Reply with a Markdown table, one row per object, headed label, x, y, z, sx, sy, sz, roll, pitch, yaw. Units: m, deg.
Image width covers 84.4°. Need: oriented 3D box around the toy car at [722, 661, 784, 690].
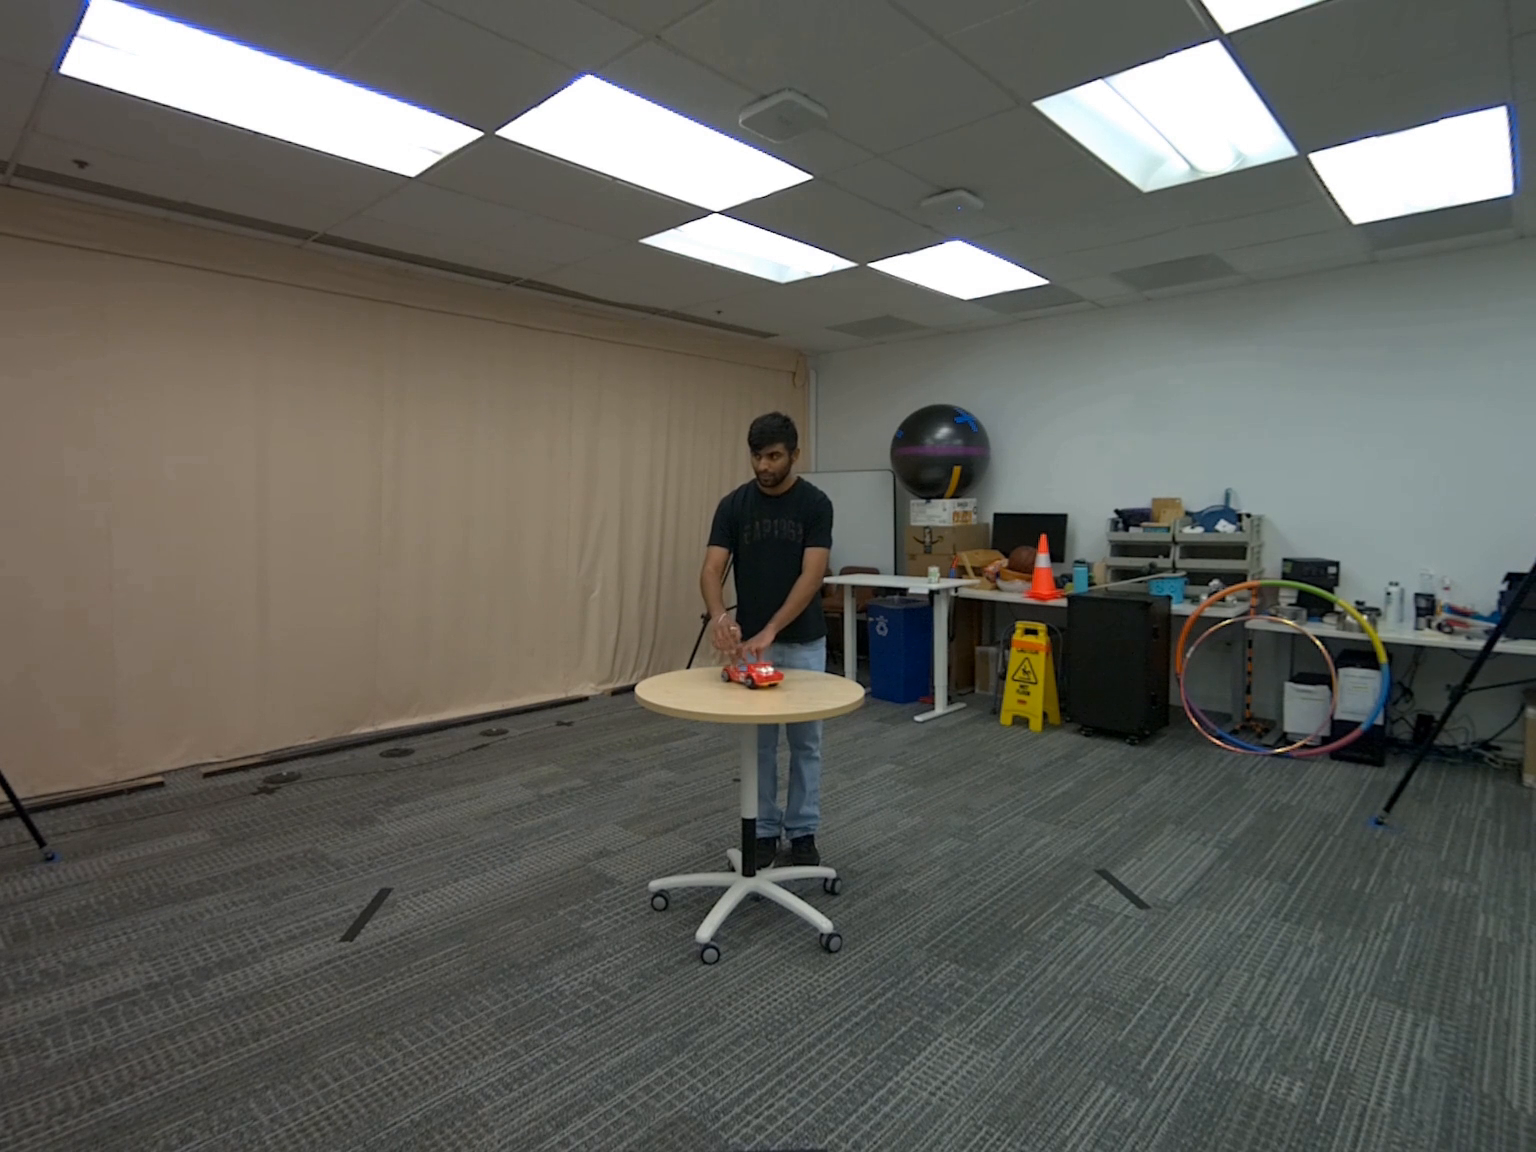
| label | x | y | z | sx | sy | sz | roll | pitch | yaw |
| --- | --- | --- | --- | --- | --- | --- | --- | --- | --- |
| toy car | -0.048 | 0.338 | 2.873 | 0.126 | 0.083 | 0.261 | -3 | -6 | -36 |
